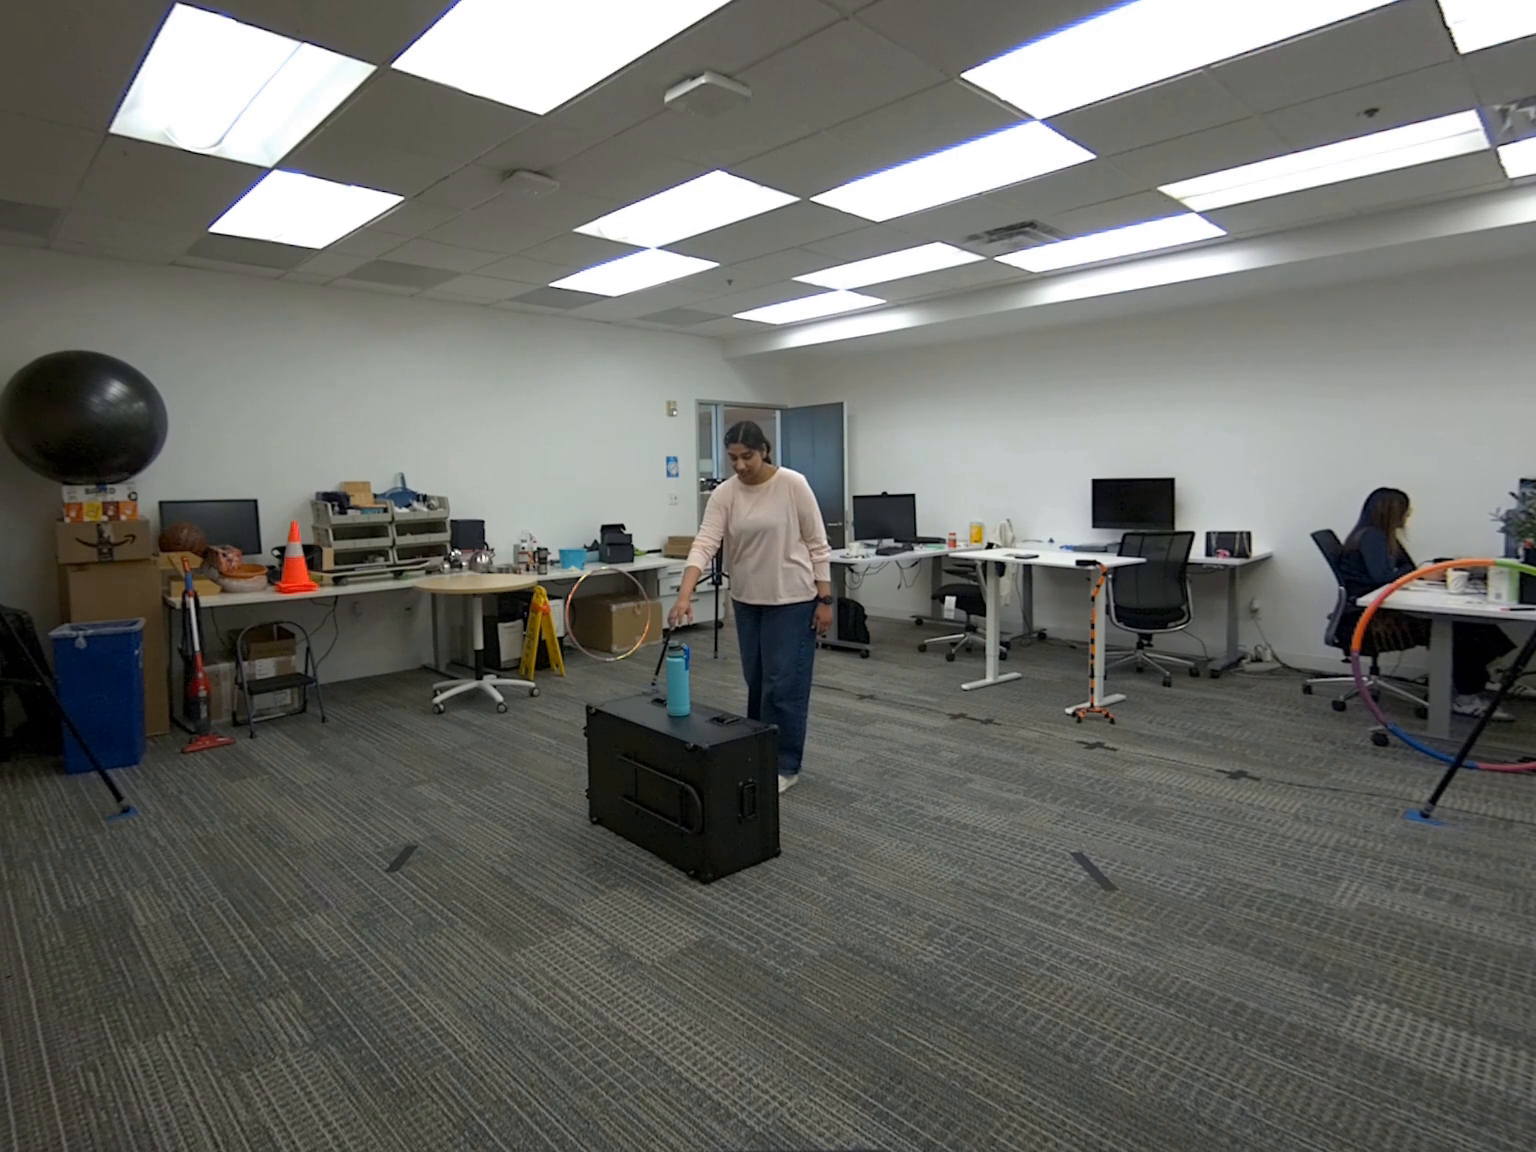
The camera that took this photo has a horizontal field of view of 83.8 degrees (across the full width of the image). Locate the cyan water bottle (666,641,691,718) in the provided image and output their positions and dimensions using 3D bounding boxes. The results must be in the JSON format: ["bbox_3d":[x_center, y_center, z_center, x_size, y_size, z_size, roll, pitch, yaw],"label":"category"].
[{"bbox_3d":[-0.352,0.400,3.358,0.092,0.282,0.093,0,3,-2],"label":"cyan water bottle"}]
